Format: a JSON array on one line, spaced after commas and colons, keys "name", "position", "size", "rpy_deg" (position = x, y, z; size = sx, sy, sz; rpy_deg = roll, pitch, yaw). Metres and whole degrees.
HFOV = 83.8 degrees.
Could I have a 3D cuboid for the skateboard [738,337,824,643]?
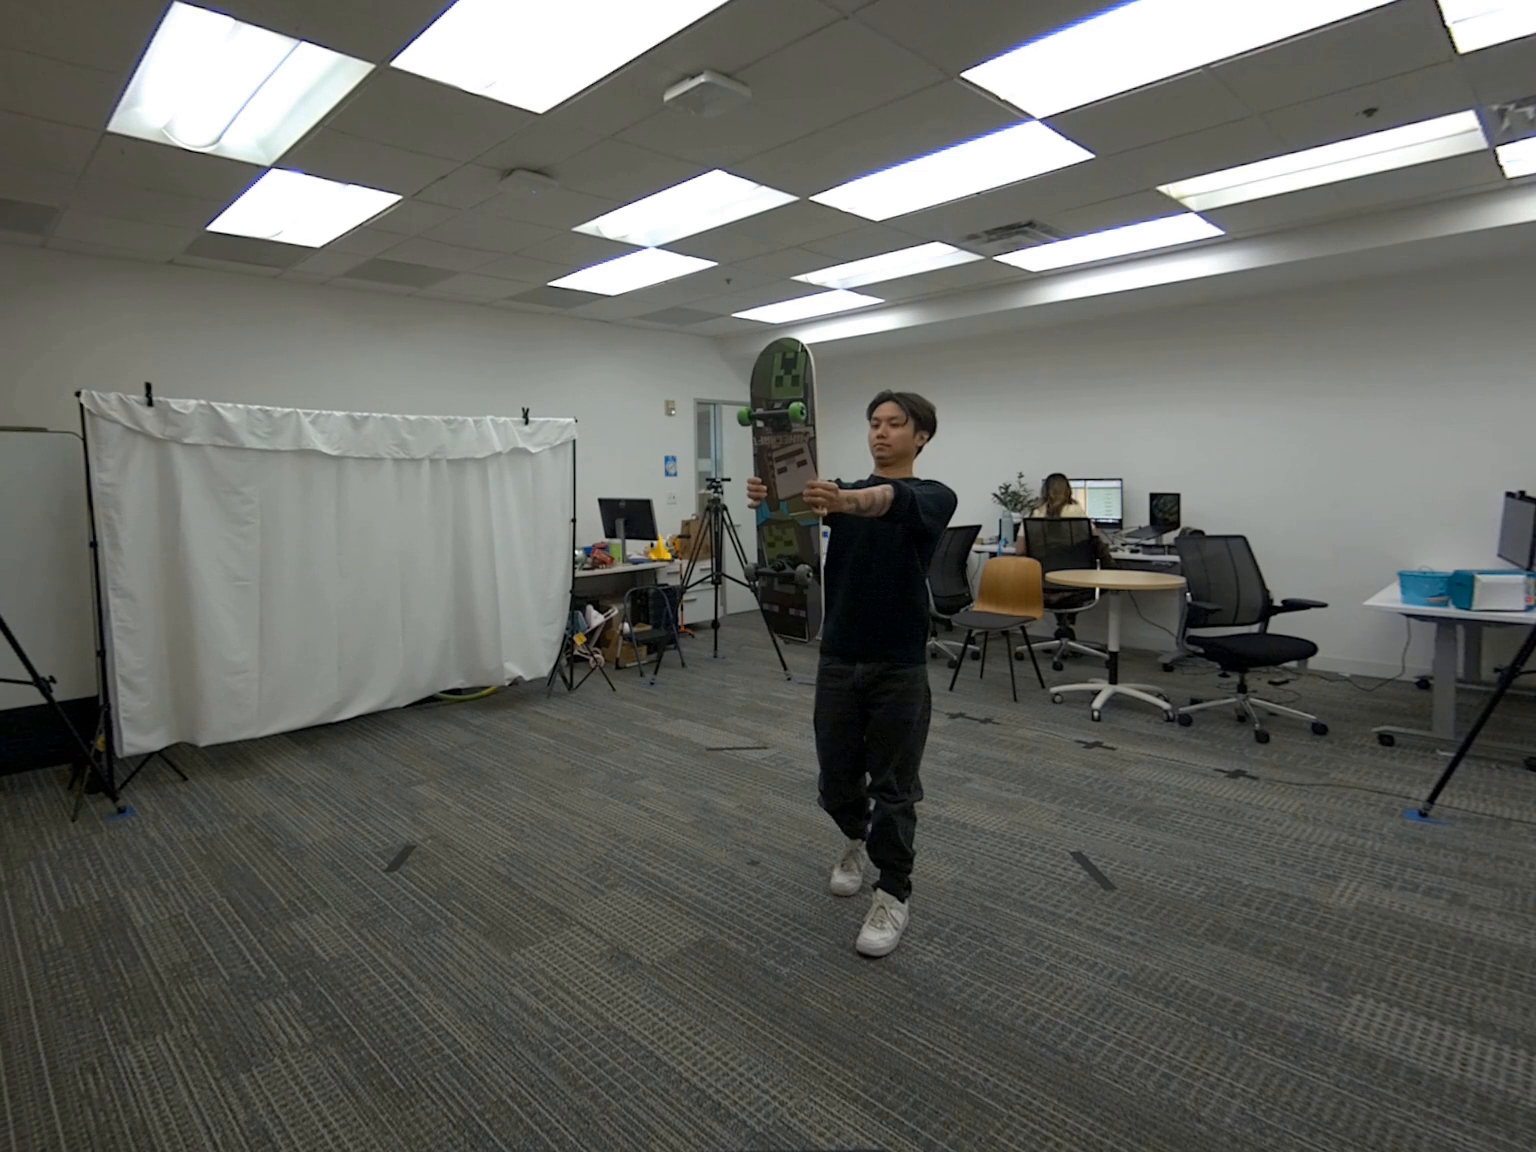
[{"name": "skateboard", "position": [0.040, -0.205, 2.161], "size": [0.199, 0.782, 0.108], "rpy_deg": [0, 5, 35]}]
